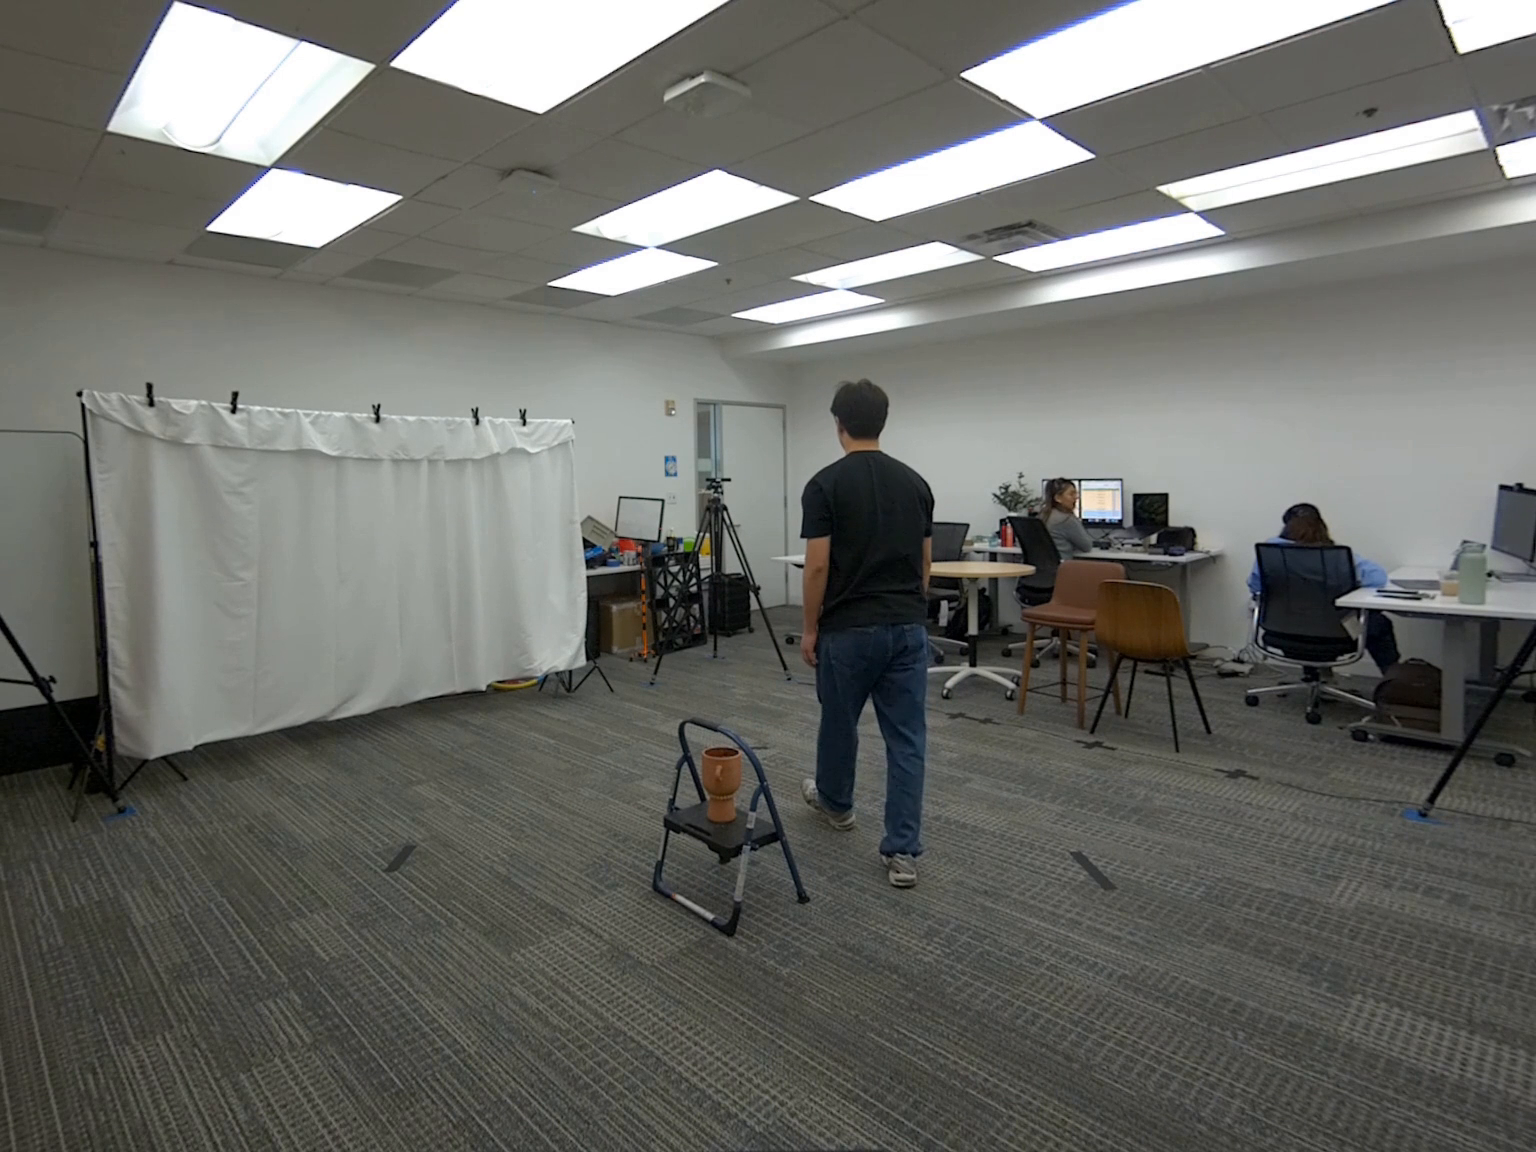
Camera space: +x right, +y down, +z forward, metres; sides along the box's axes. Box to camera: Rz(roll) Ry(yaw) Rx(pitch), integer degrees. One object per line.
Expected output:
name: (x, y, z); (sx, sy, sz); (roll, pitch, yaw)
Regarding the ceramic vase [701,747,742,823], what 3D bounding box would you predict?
ceramic vase: (-0.161, 0.702, 2.867); (0.139, 0.219, 0.155); (4, 6, 40)
